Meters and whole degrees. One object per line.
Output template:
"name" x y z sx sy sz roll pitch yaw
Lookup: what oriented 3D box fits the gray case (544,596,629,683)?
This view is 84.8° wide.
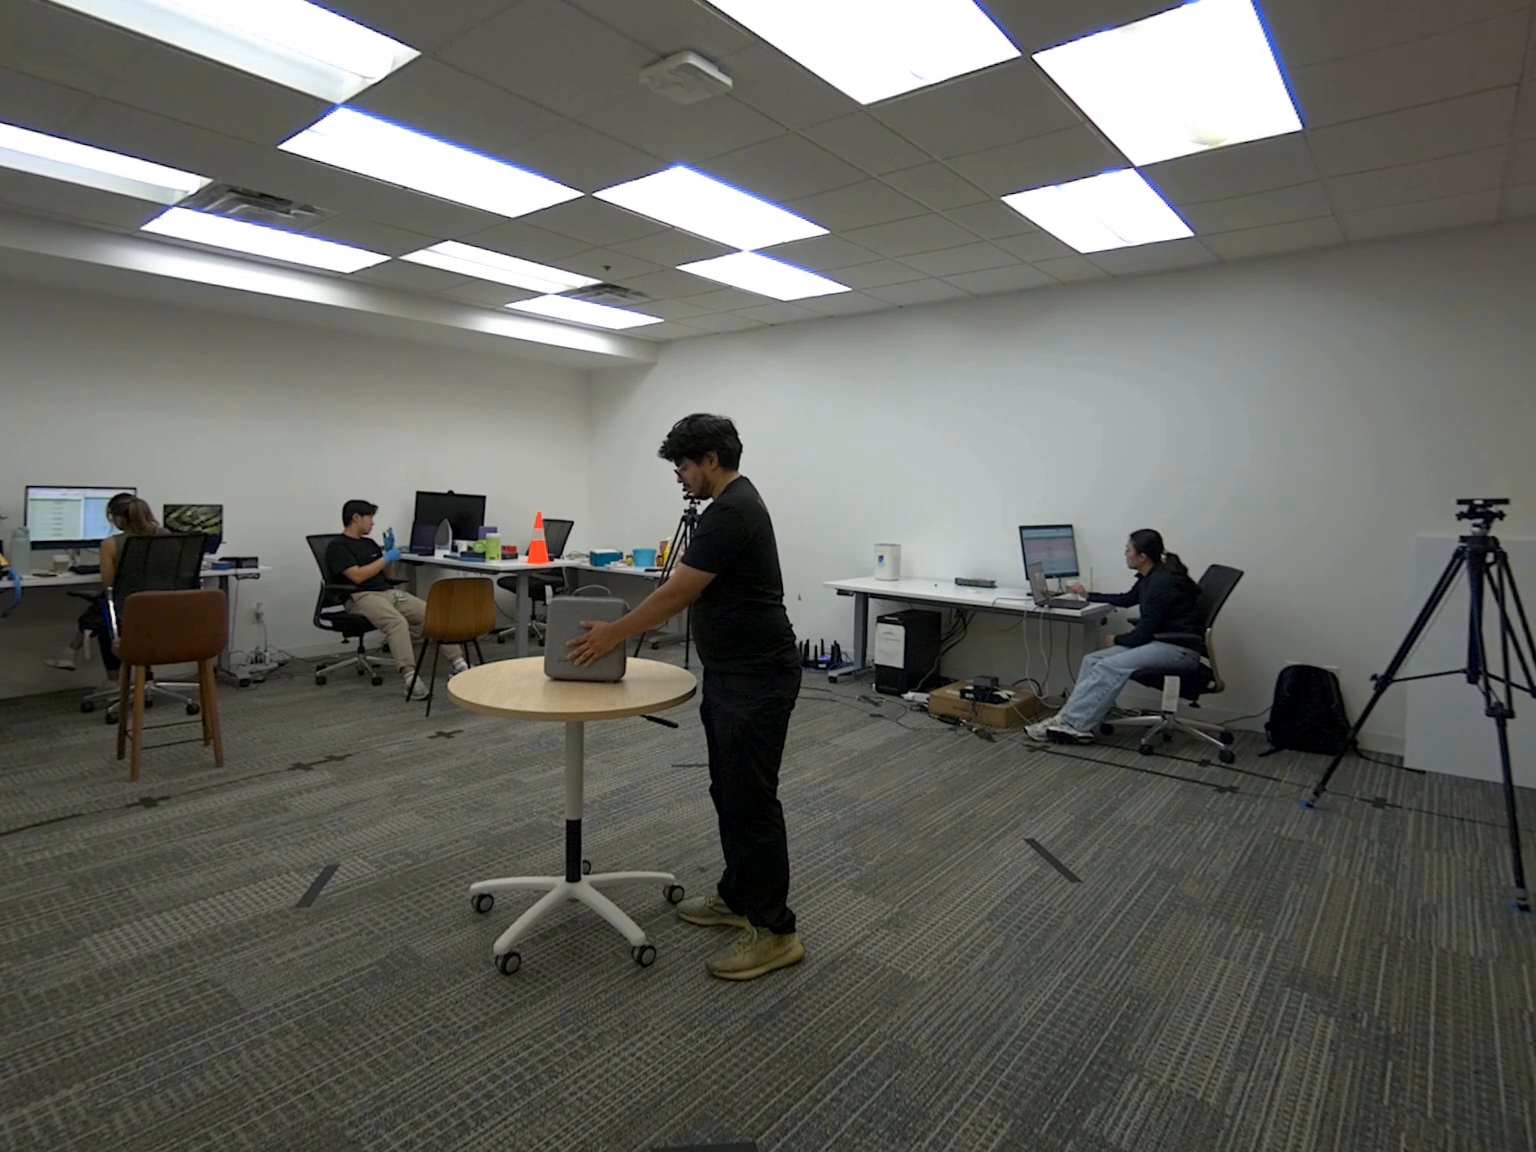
"gray case" -0.588 0.187 2.693 0.258 0.262 0.103 3 -5 3
